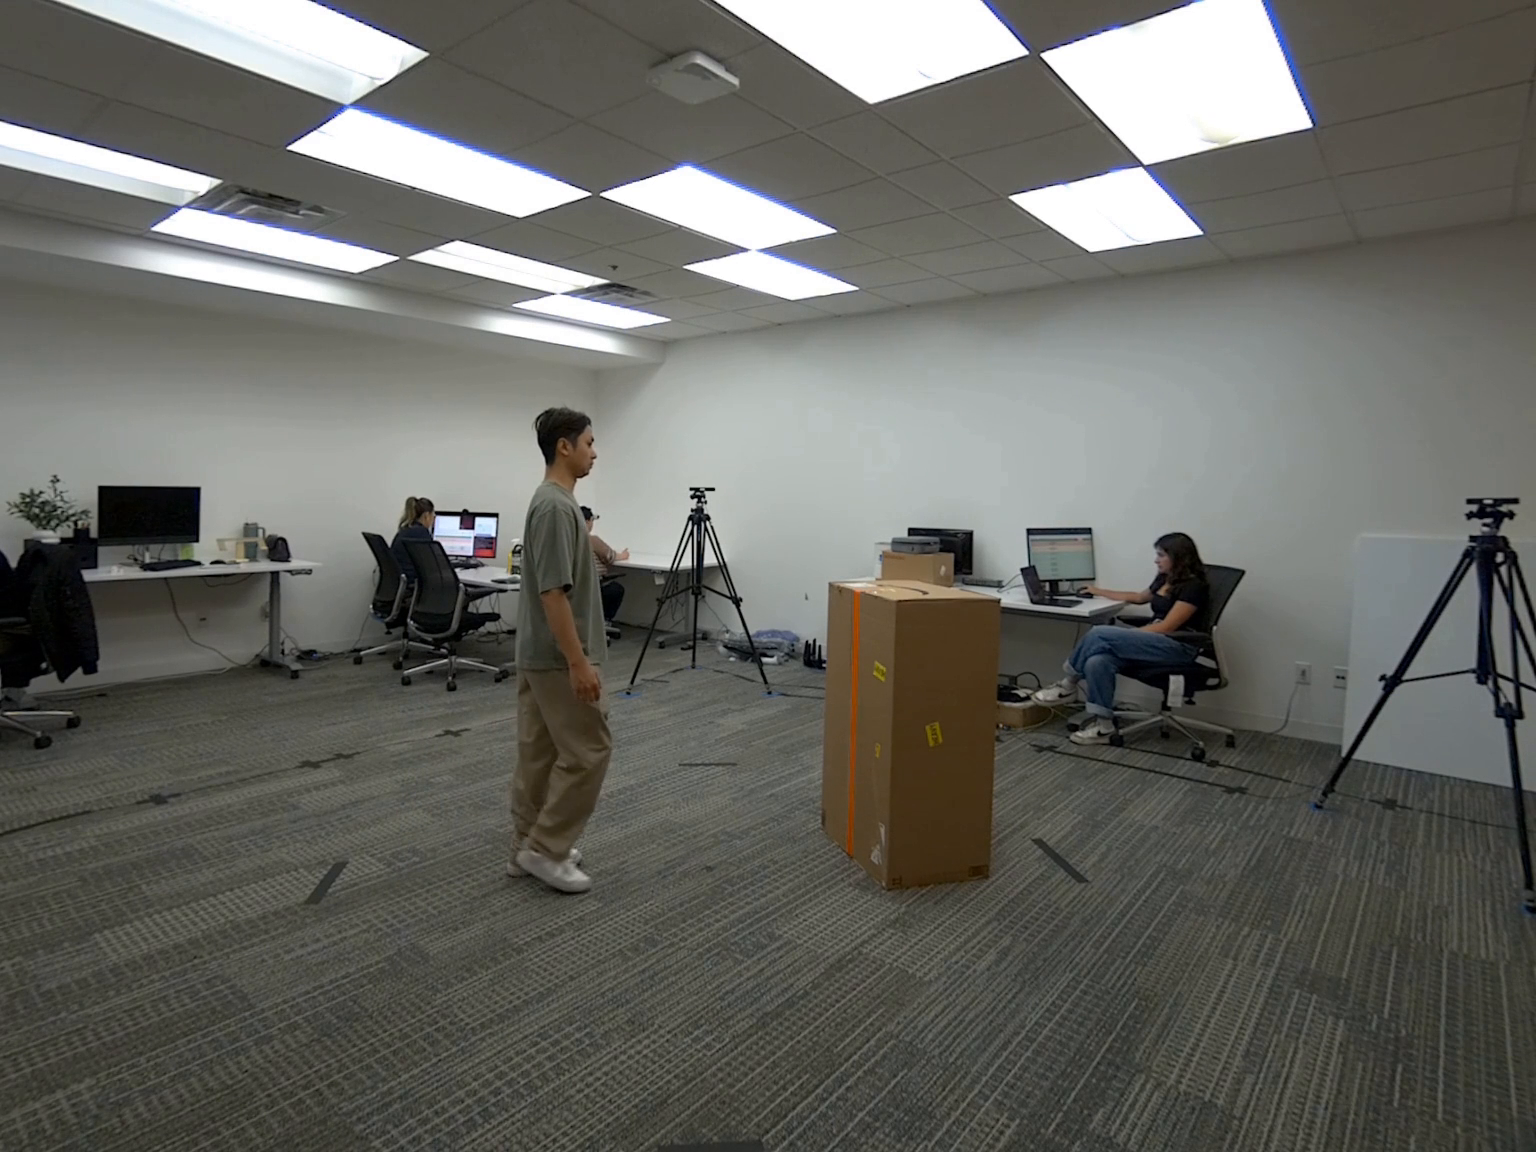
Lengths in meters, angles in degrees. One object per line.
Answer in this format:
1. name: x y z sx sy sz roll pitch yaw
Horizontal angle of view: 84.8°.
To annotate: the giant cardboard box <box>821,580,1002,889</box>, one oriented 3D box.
1. giant cardboard box: 0.521 0.560 3.273 0.418 1.022 0.591 0 4 -20
